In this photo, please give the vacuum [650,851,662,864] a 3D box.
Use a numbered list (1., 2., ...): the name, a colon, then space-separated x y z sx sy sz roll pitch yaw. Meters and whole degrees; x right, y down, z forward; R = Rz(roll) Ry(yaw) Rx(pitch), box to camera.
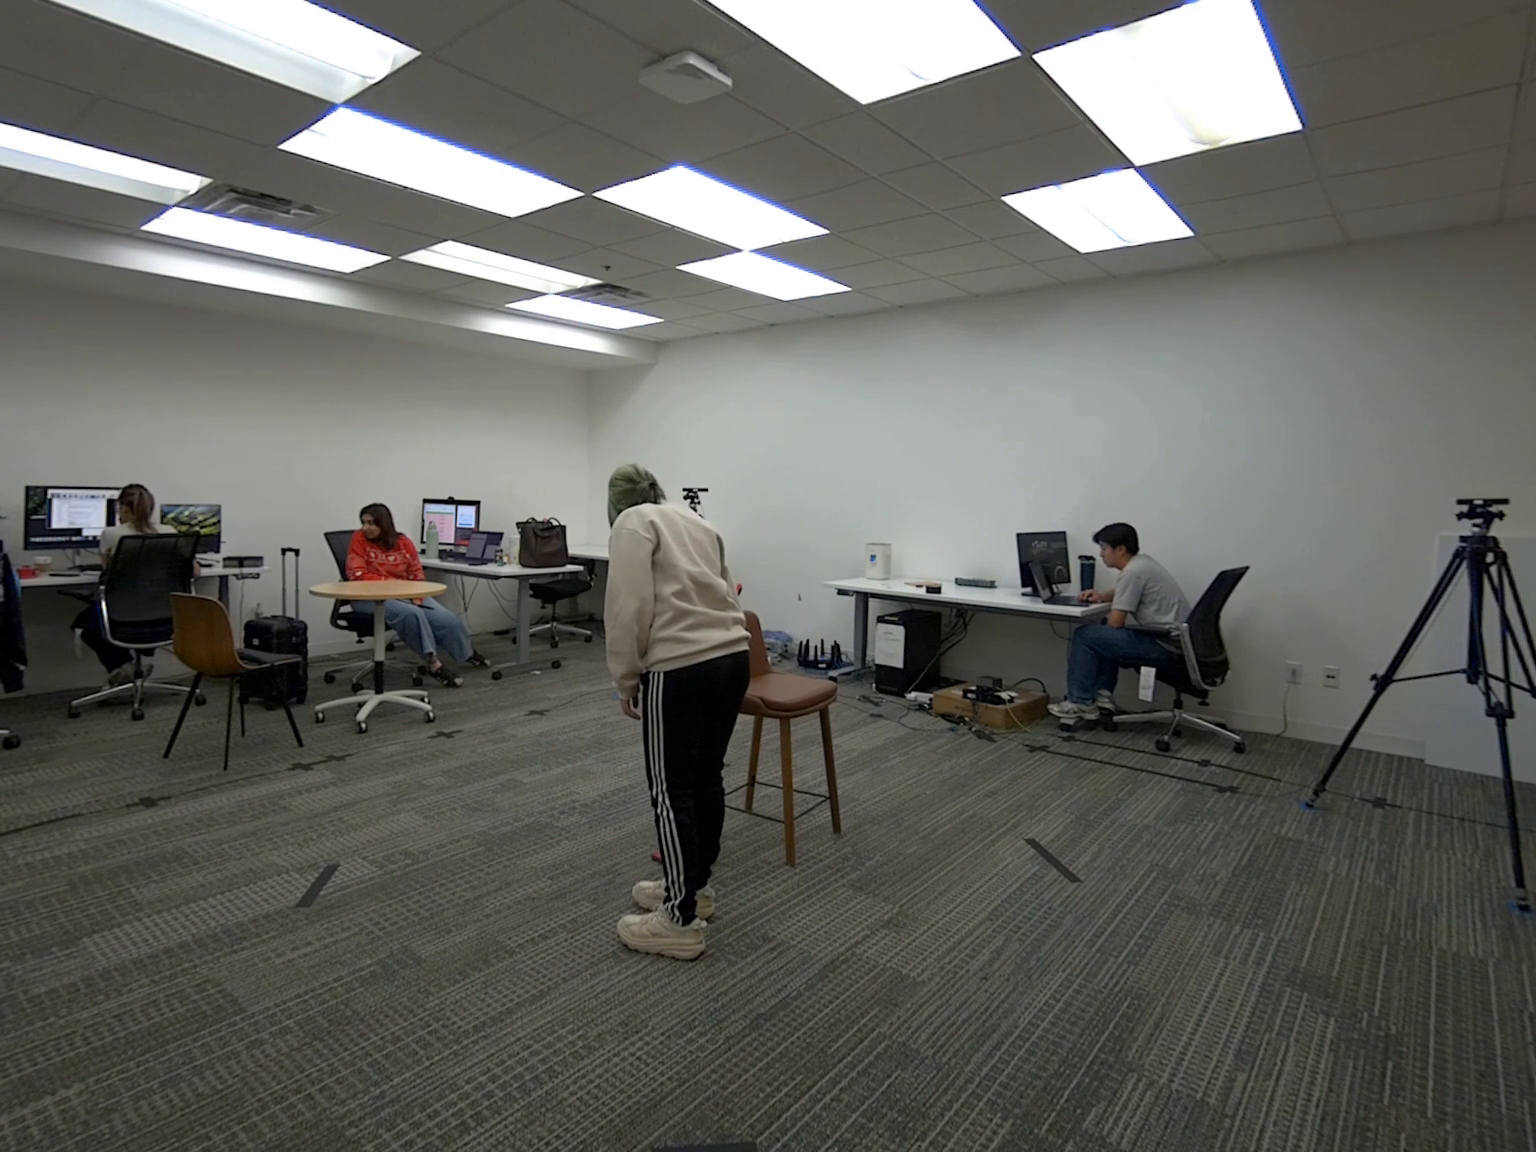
1. vacuum: -0.207 0.552 3.239 0.261 1.057 0.138 1 -13 43
